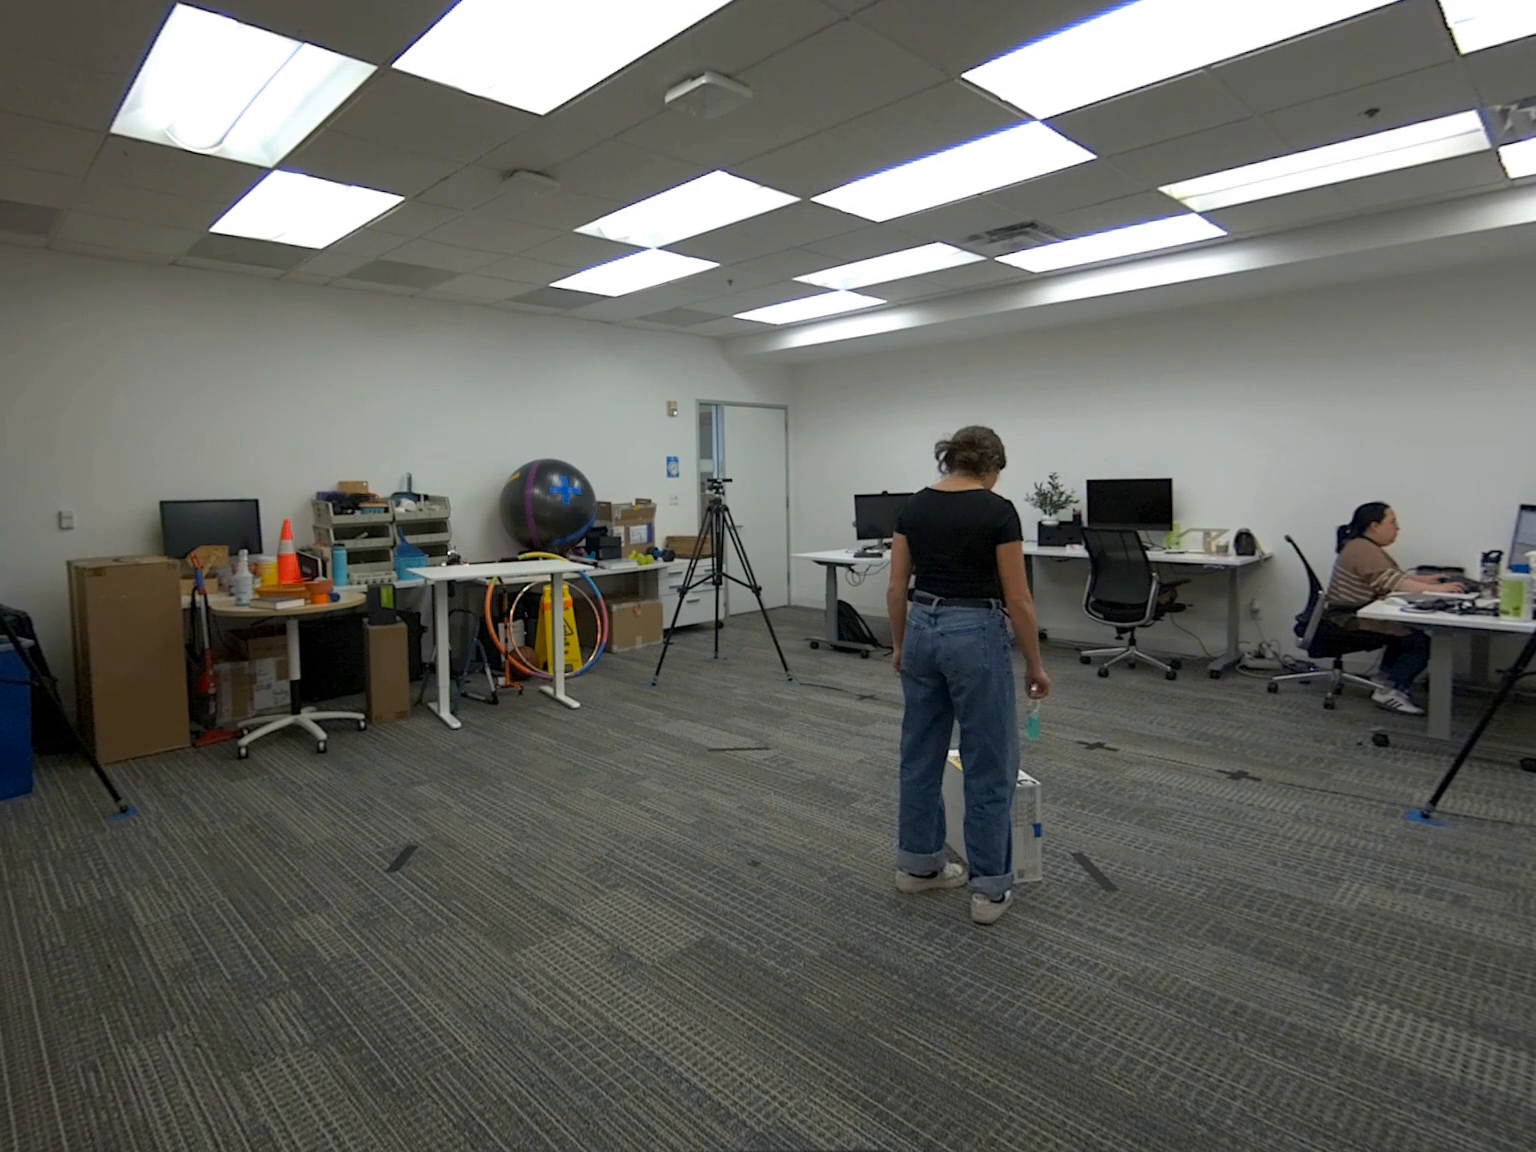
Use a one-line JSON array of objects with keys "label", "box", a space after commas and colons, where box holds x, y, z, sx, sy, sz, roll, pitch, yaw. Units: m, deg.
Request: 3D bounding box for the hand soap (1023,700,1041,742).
[{"label": "hand soap", "box": [0.861, 0.446, 2.770, 0.043, 0.166, 0.087, -2, 16, -13]}]
